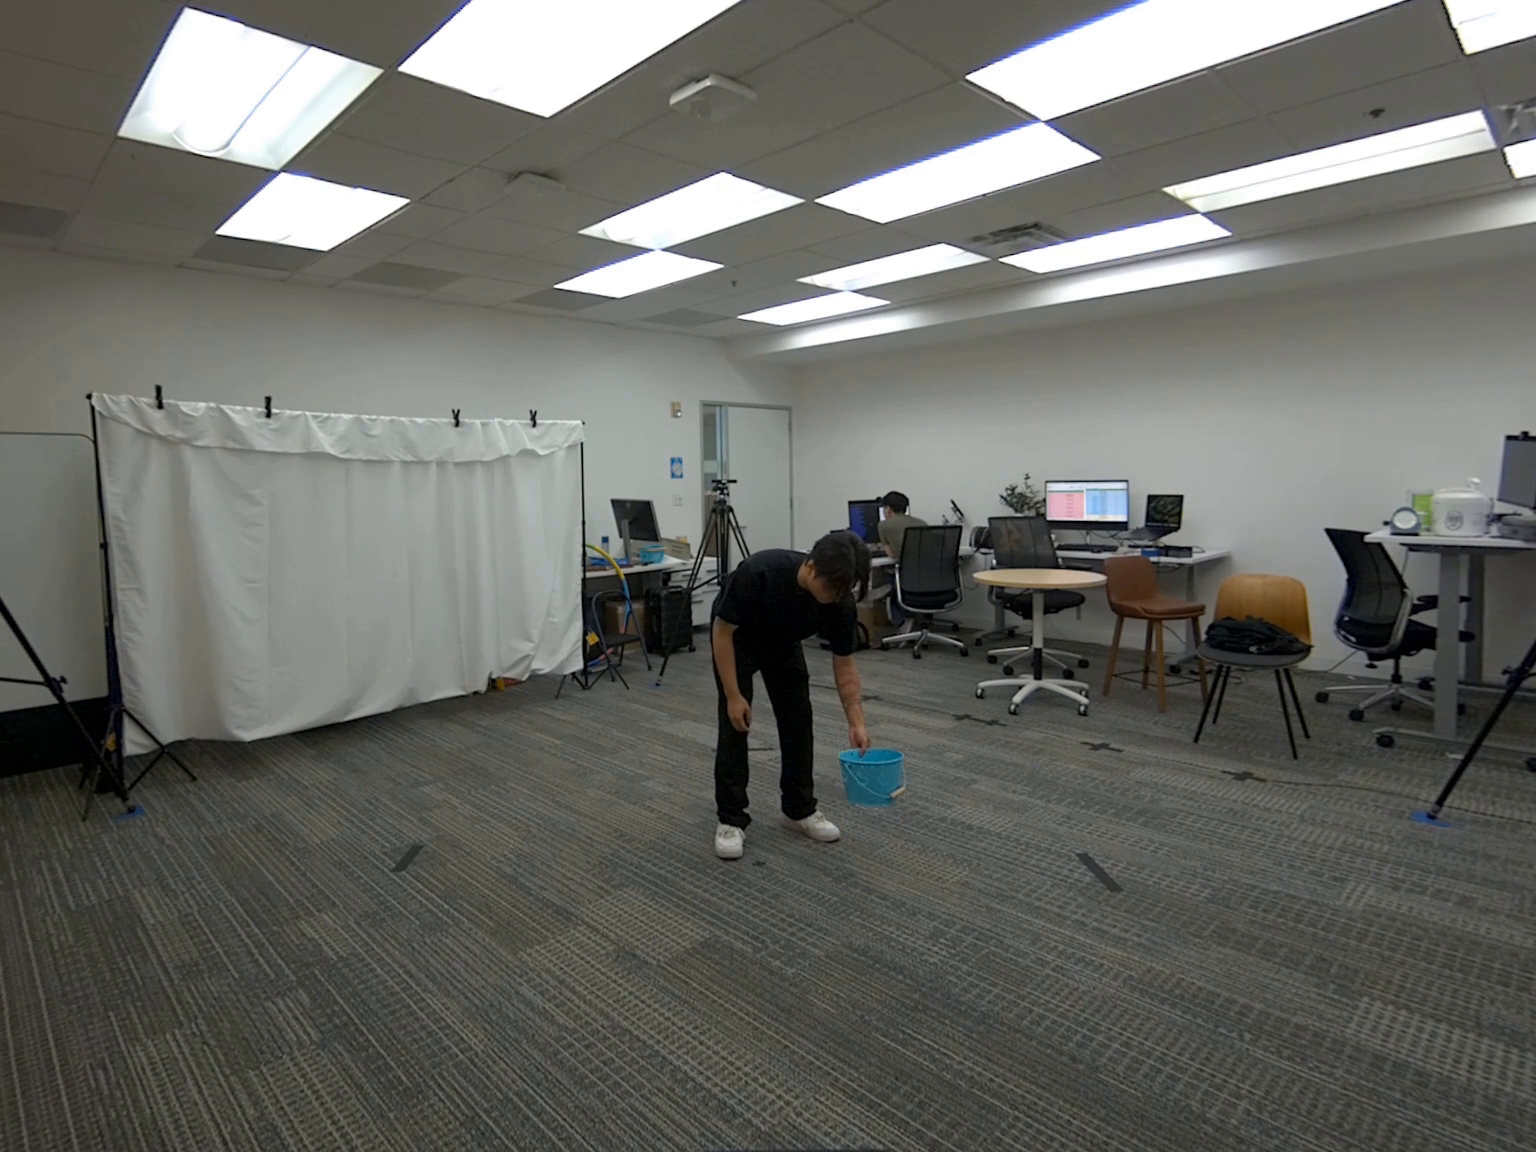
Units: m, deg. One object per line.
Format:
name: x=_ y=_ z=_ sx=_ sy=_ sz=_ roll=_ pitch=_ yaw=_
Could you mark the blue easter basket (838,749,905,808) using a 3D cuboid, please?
blue easter basket: x=0.376 y=0.715 z=3.007 sx=0.243 sy=0.156 sz=0.244 roll=-5 pitch=1 yaw=-2
